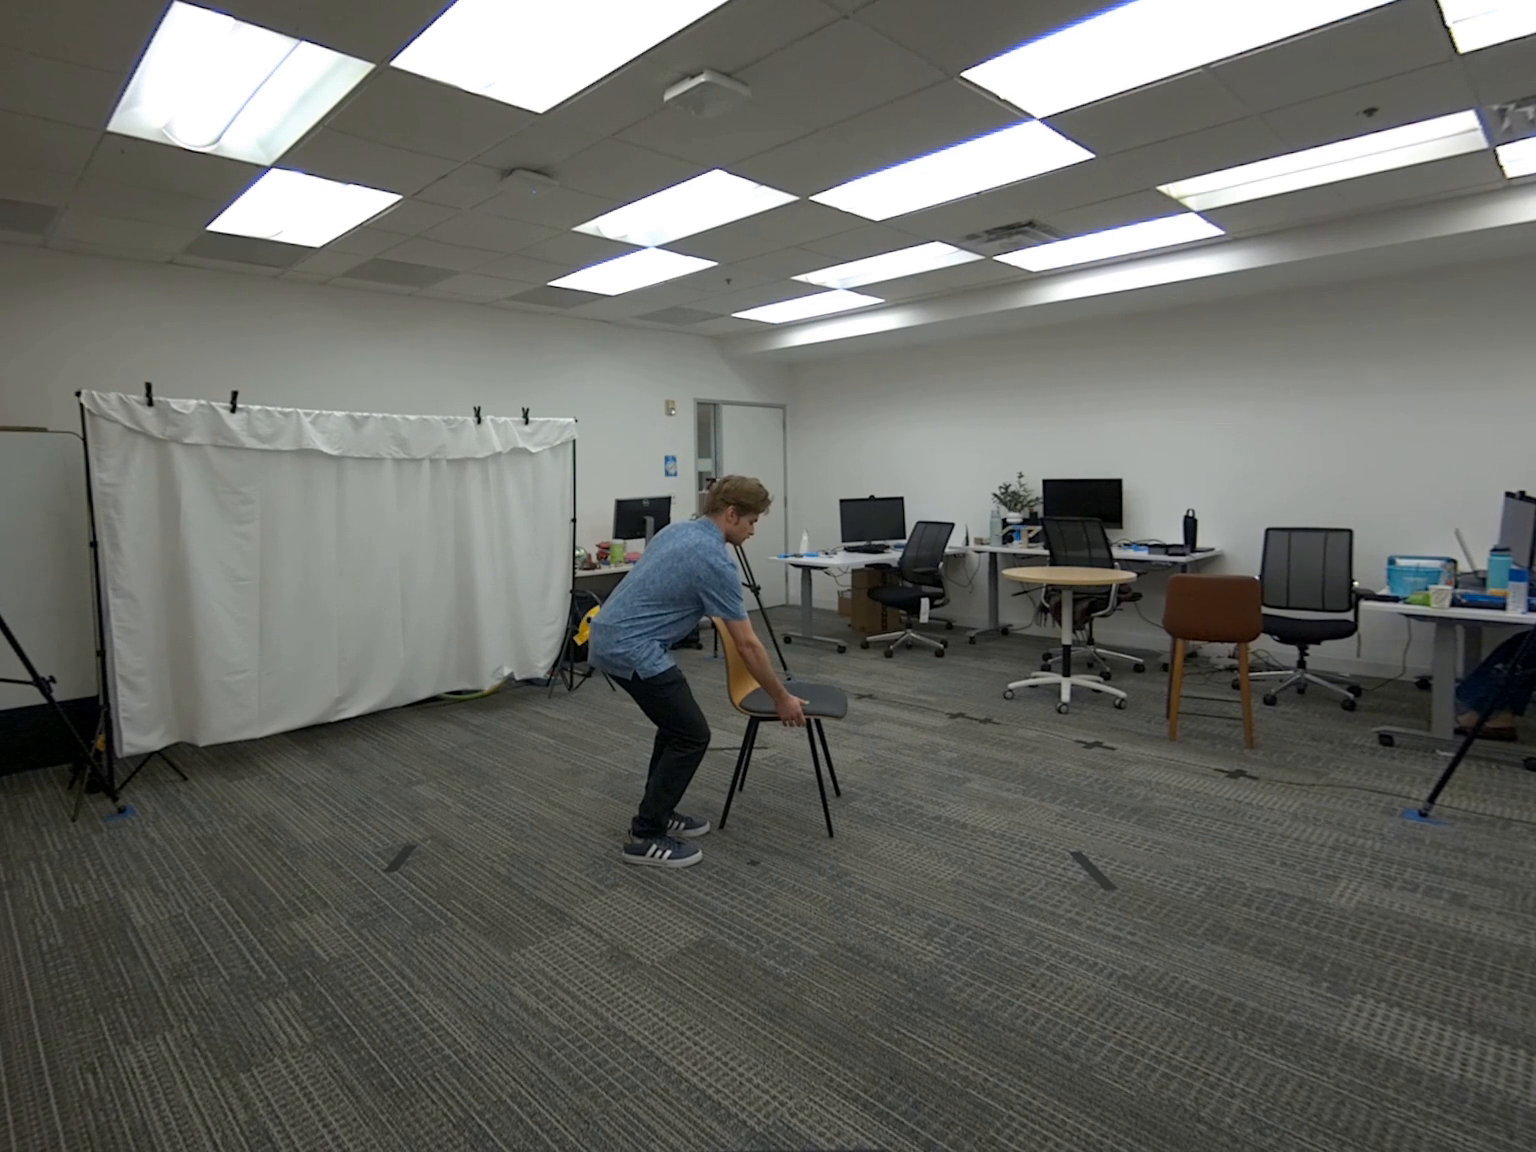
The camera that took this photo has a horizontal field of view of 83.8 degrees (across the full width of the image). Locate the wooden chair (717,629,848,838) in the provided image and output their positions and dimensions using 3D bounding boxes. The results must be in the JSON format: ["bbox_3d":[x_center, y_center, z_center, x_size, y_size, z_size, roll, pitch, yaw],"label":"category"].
[{"bbox_3d":[0.066,0.562,3.543,0.529,0.875,0.474,-4,3,11],"label":"wooden chair"}]
